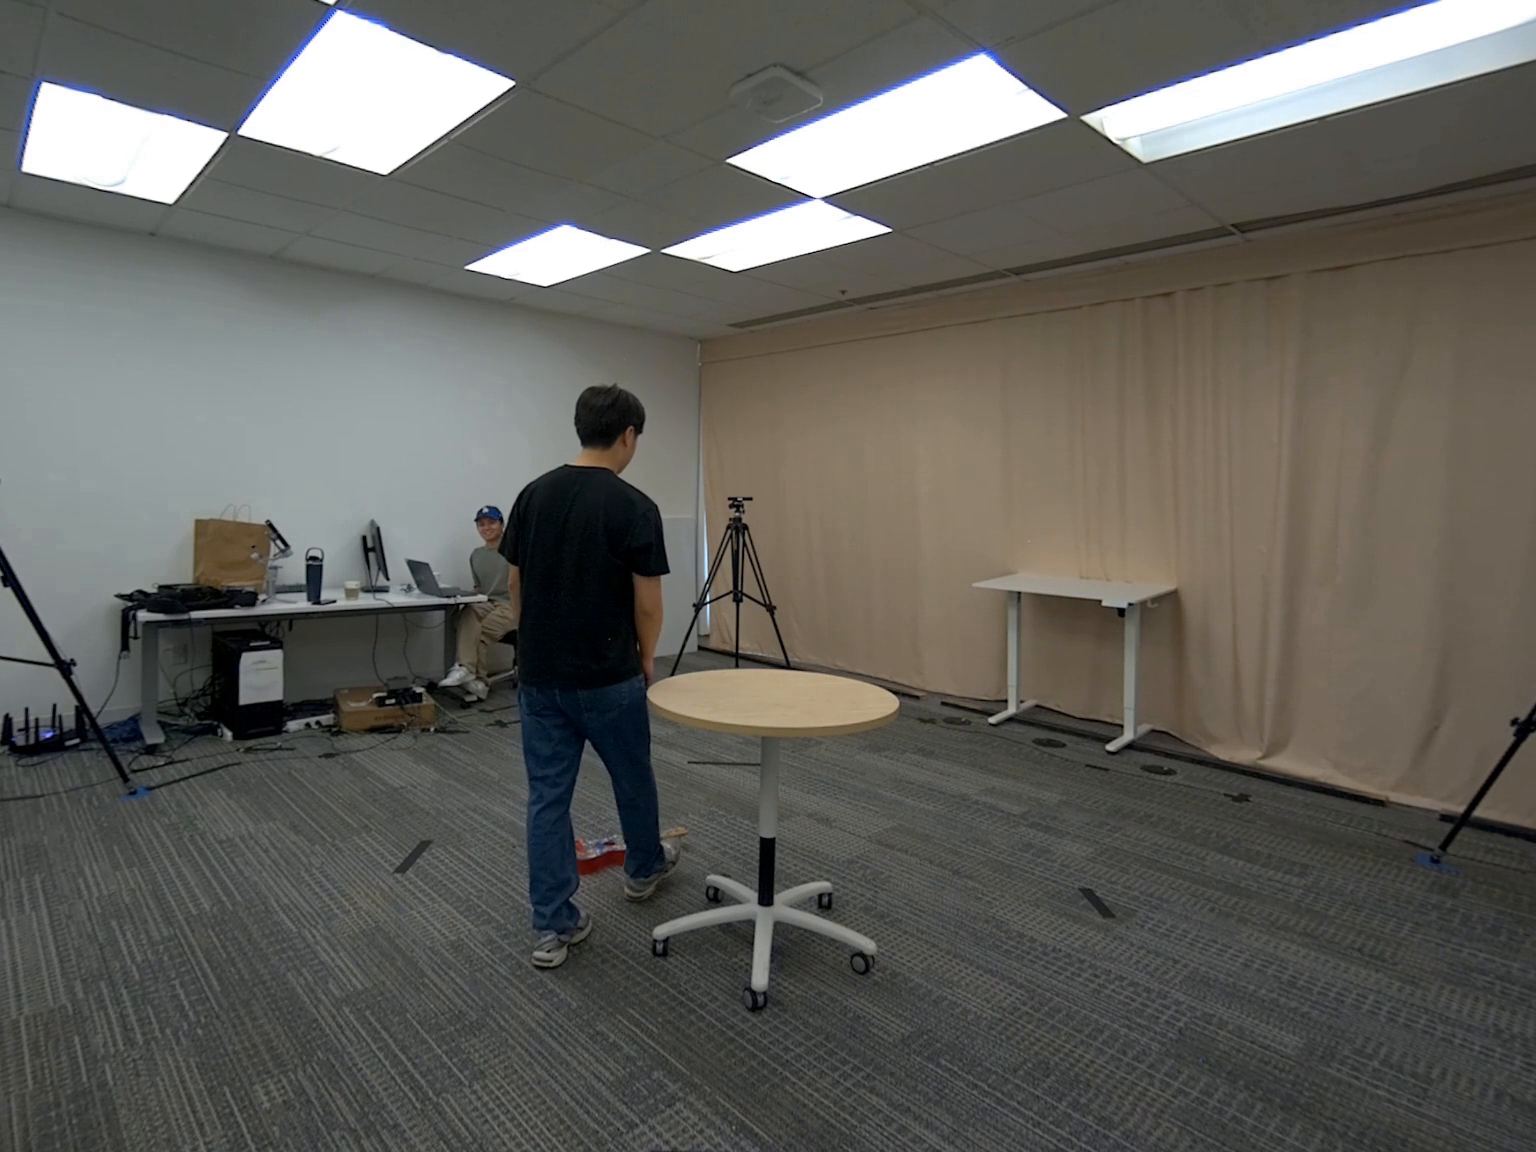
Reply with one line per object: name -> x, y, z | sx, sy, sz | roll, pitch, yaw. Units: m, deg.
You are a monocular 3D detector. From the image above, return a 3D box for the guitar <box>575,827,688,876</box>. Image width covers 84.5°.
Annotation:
guitar -> -0.538, 1.052, 3.230 | 0.491, 0.070, 0.196 | -1, 5, -19
